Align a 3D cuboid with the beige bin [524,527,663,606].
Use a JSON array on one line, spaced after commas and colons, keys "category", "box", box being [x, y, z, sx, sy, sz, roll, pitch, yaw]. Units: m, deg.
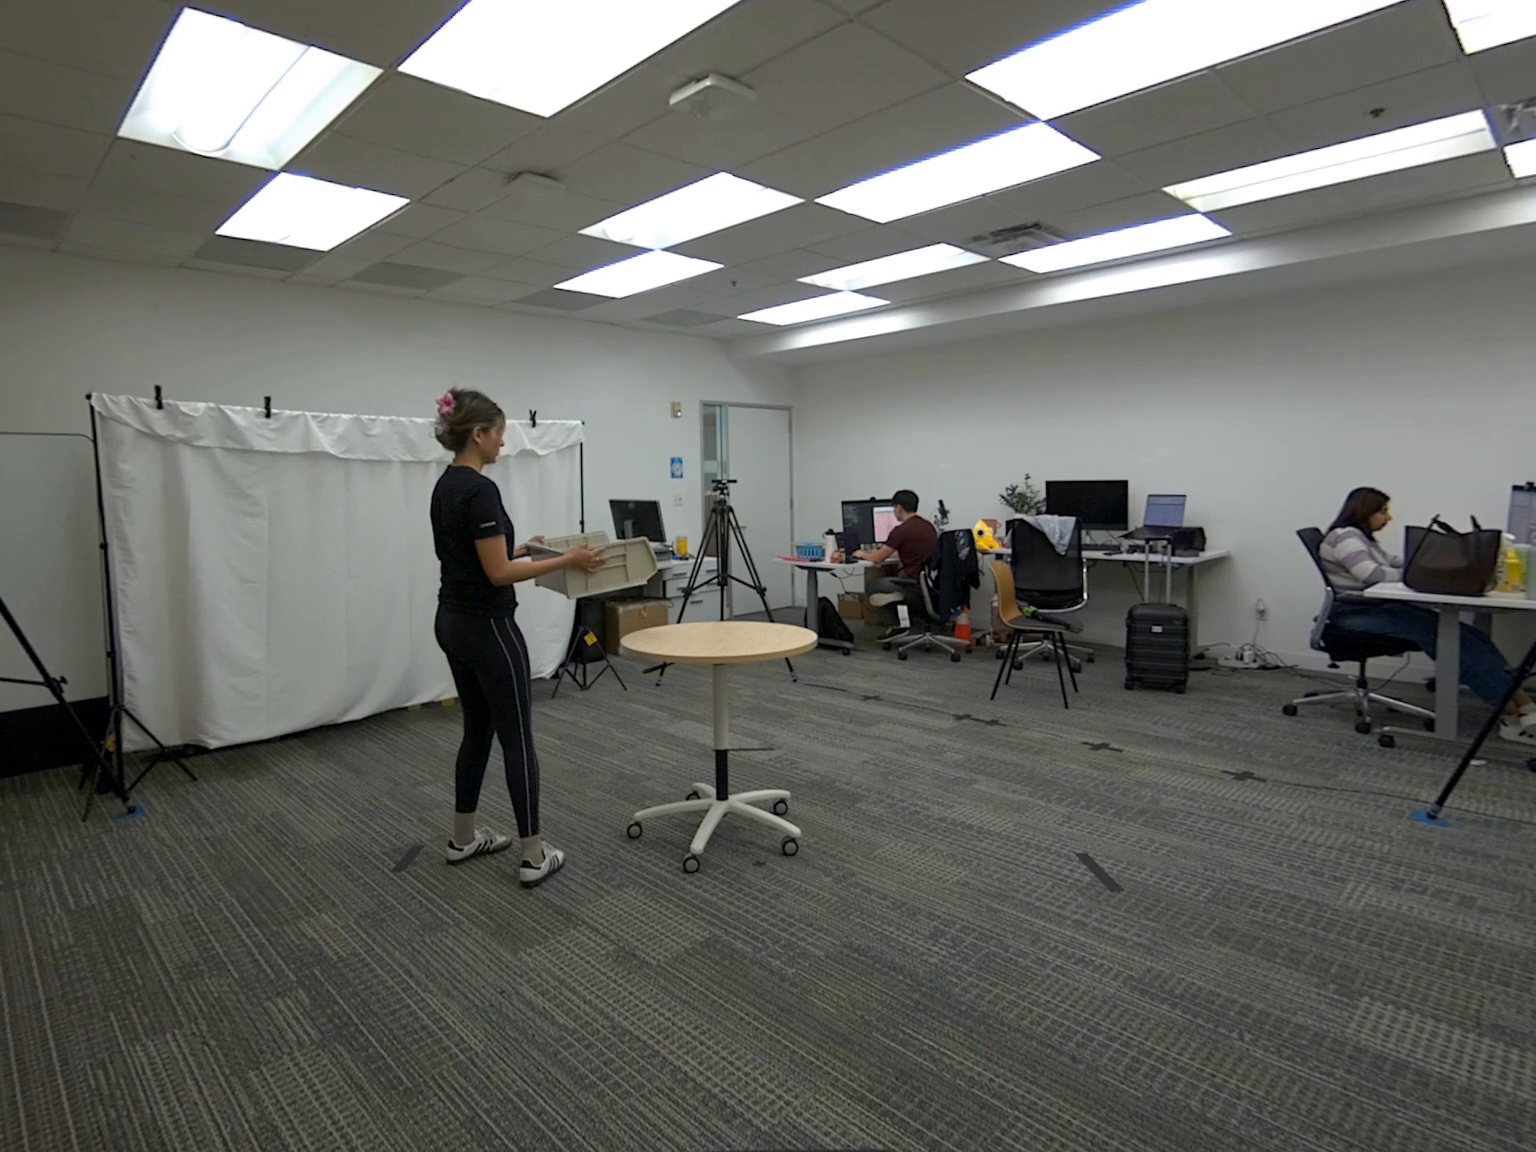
[{"category": "beige bin", "box": [-0.689, -0.052, 3.346, 0.370, 0.187, 0.435, -14, 14, -31]}]
